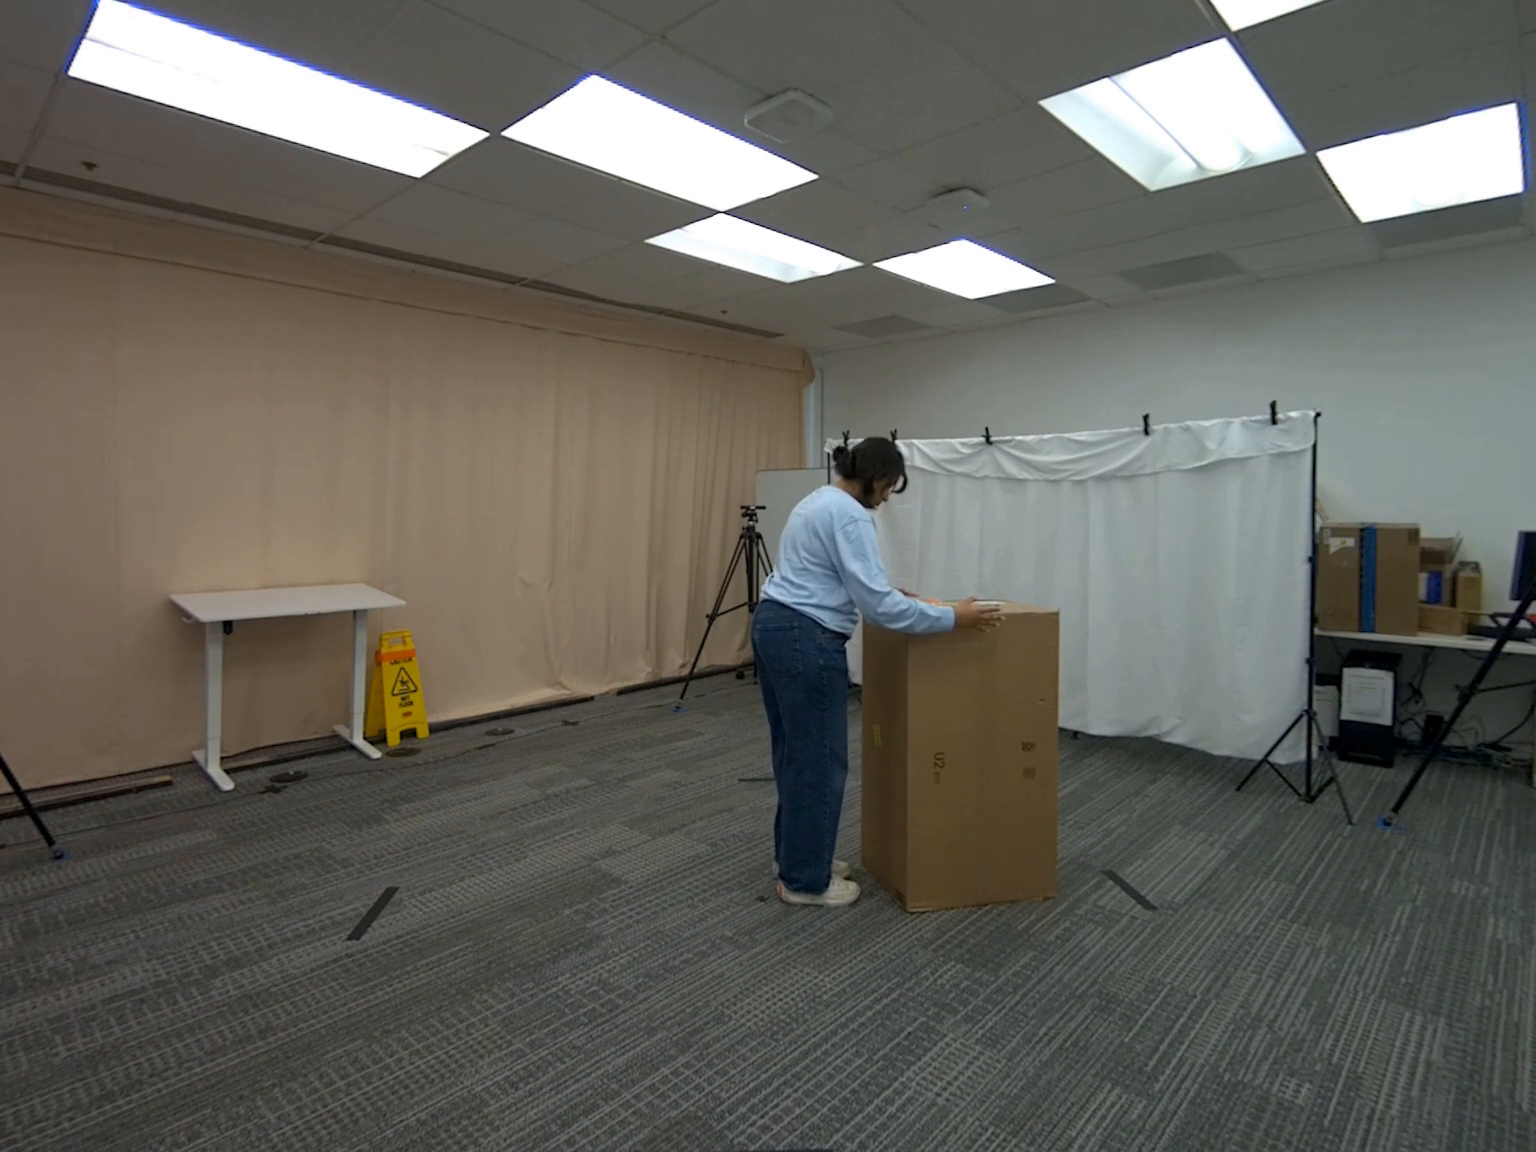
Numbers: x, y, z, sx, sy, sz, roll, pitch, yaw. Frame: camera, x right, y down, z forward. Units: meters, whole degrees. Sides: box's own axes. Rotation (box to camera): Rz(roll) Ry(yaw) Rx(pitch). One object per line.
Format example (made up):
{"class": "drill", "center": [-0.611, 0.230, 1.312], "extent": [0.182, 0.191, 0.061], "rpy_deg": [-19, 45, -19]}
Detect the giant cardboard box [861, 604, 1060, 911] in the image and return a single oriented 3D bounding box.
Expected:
{"class": "giant cardboard box", "center": [0.703, 0.622, 3.114], "extent": [0.577, 1.025, 0.453], "rpy_deg": [-1, 2, -12]}
